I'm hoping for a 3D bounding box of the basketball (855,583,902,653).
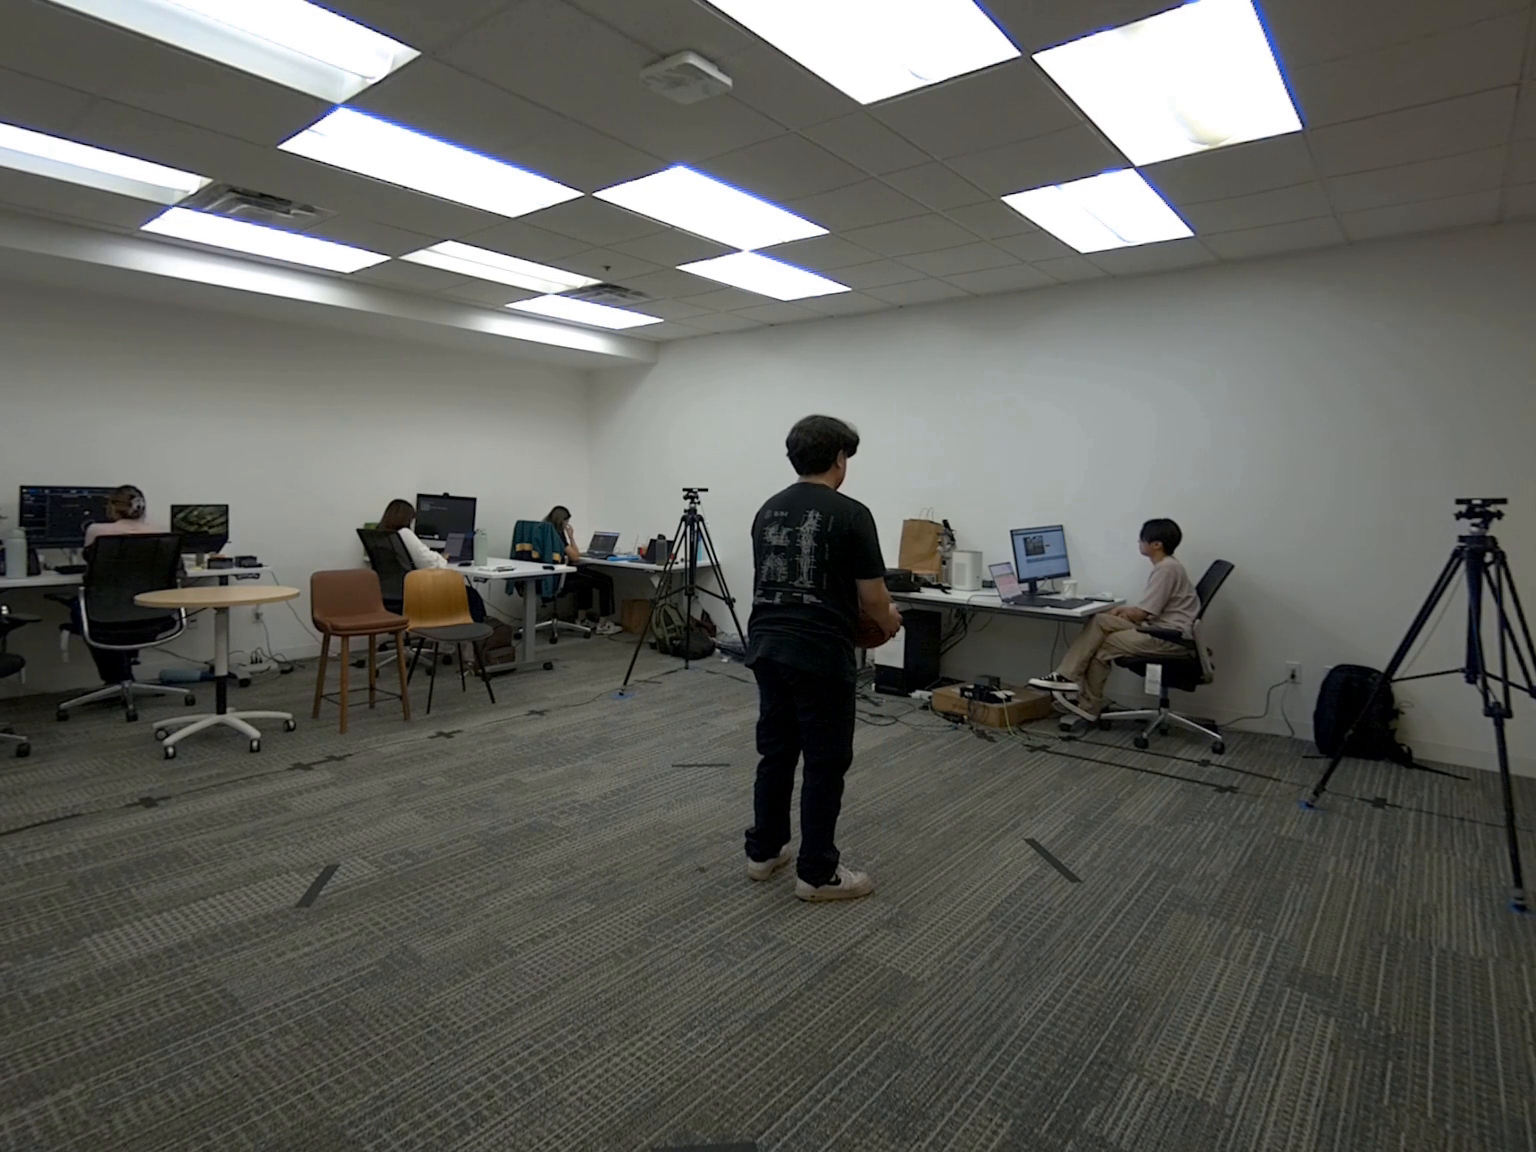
[{"bbox_3d":[0.368,0.154,3.239,0.235,0.235,0.237,1,4,-2],"label":"basketball"}]
